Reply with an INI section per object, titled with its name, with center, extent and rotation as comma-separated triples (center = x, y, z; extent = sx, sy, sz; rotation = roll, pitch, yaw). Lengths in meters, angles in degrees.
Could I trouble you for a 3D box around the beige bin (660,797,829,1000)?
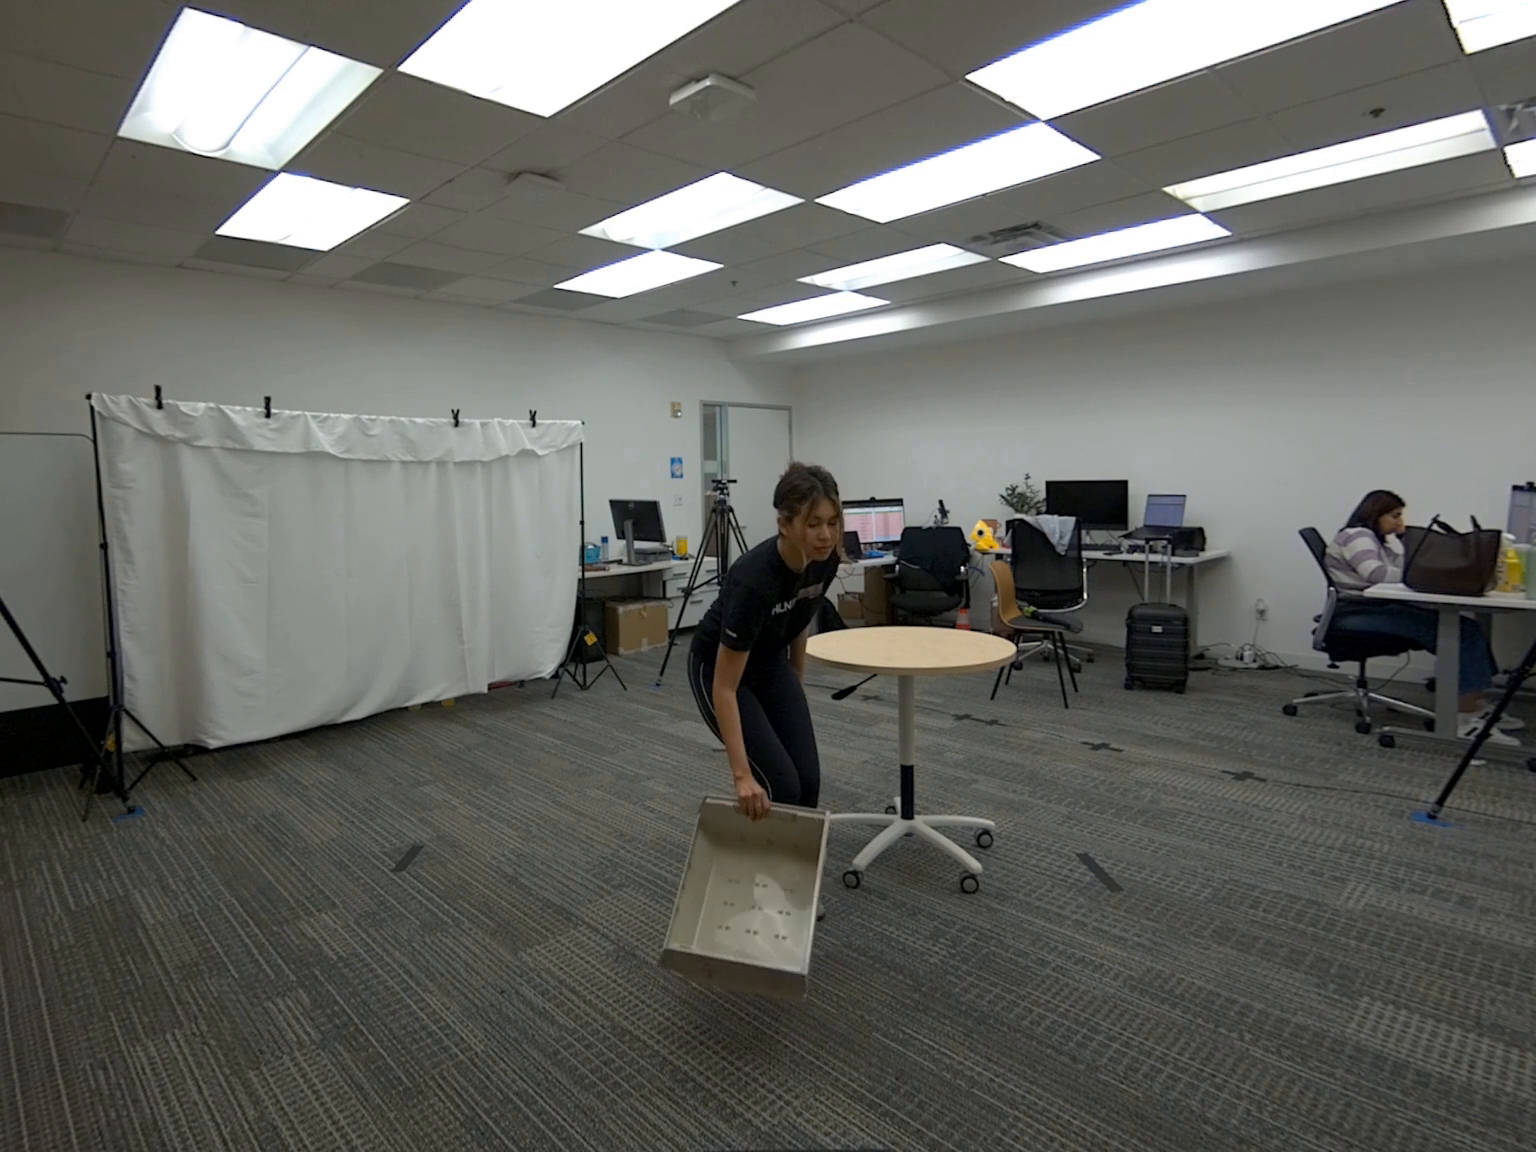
[beige bin]
center = -0.044, 0.820, 2.203
extent = 0.382, 0.183, 0.429
rotation = 4, 42, 12
